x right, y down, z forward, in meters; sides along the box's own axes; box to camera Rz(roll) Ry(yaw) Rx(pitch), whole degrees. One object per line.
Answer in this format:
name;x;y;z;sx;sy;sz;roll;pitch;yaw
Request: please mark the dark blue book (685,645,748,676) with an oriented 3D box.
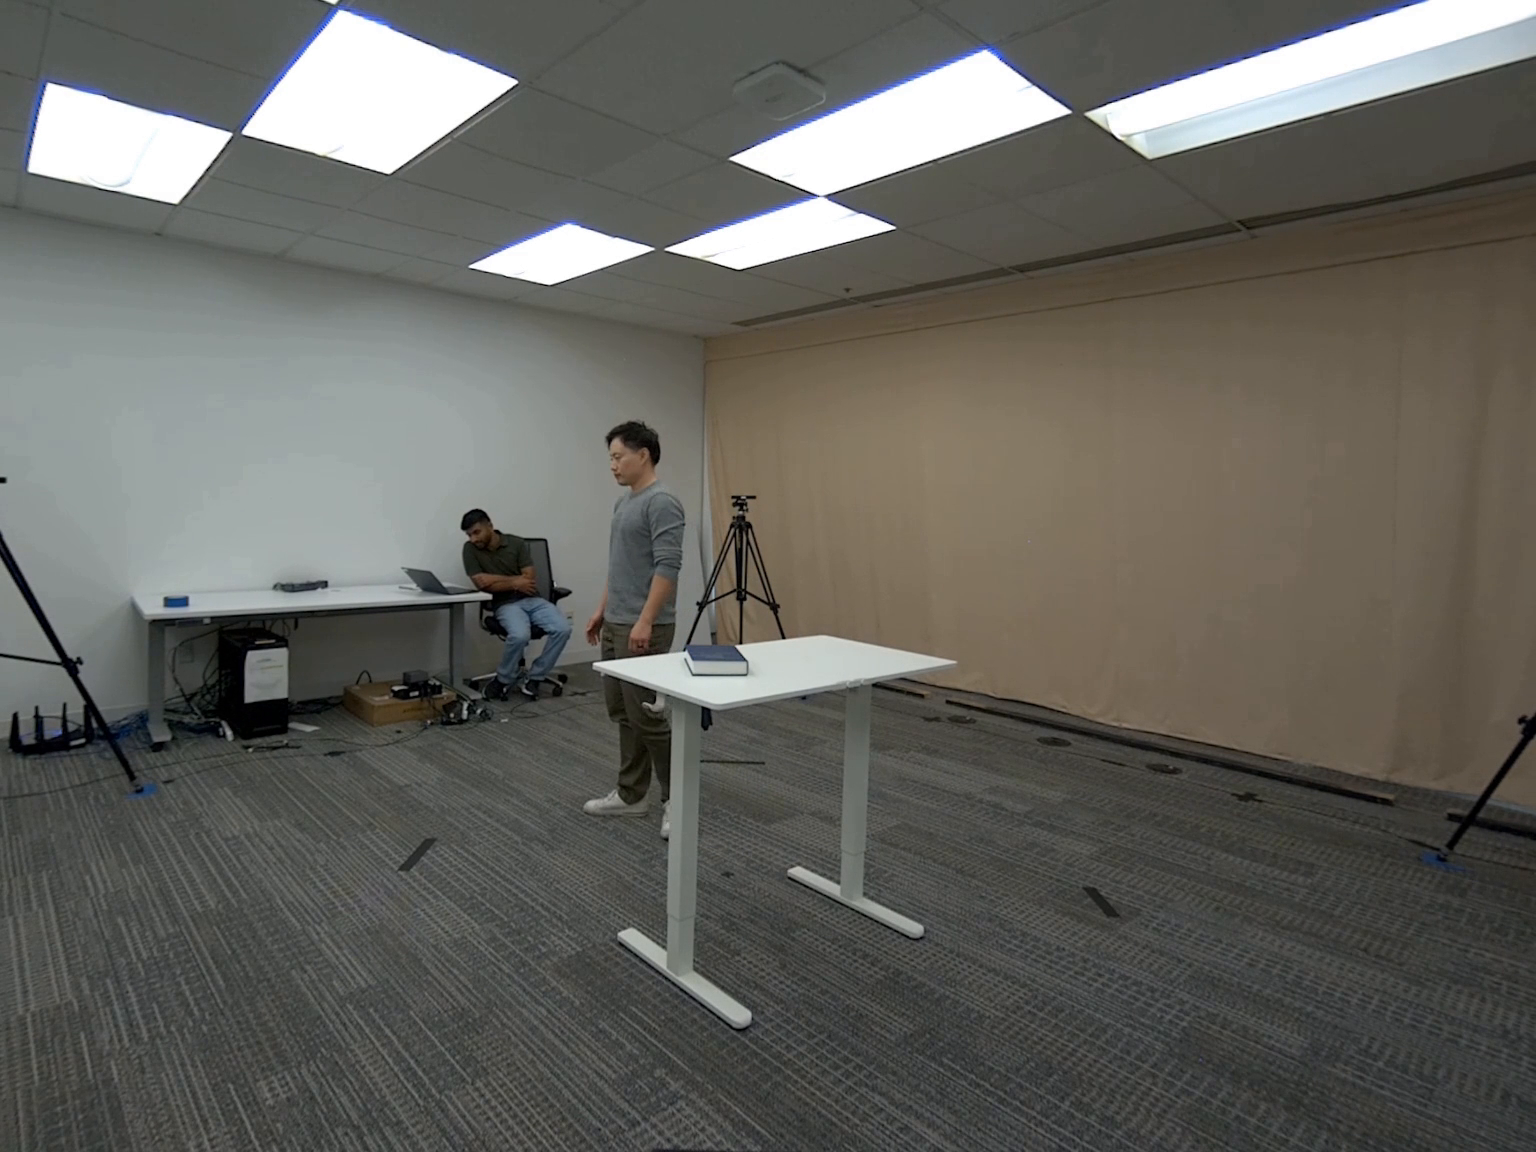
dark blue book;-0.159;0.256;2.499;0.162;0.045;0.248;2;6;-9
